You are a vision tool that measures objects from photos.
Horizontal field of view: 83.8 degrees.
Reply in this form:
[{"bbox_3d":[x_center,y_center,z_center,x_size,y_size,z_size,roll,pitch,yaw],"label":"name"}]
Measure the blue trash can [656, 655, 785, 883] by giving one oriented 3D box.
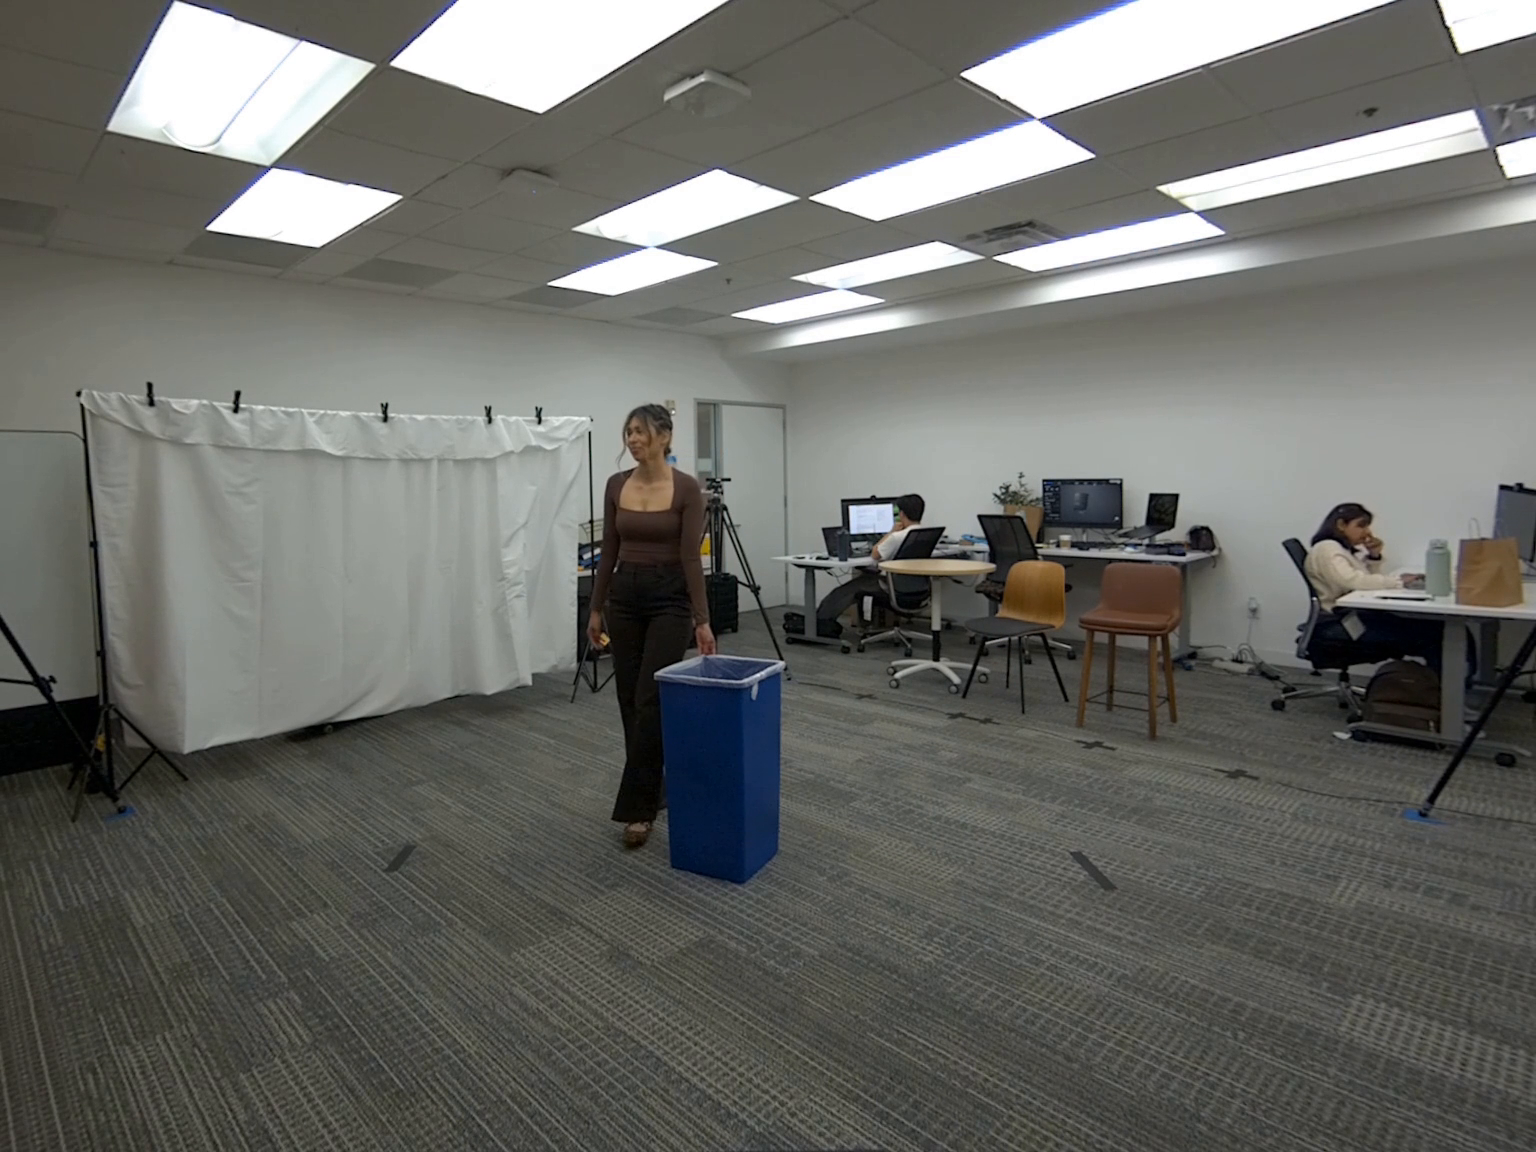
[{"bbox_3d":[-0.164,0.683,3.116,0.383,0.711,0.370,2,4,27],"label":"blue trash can"}]
